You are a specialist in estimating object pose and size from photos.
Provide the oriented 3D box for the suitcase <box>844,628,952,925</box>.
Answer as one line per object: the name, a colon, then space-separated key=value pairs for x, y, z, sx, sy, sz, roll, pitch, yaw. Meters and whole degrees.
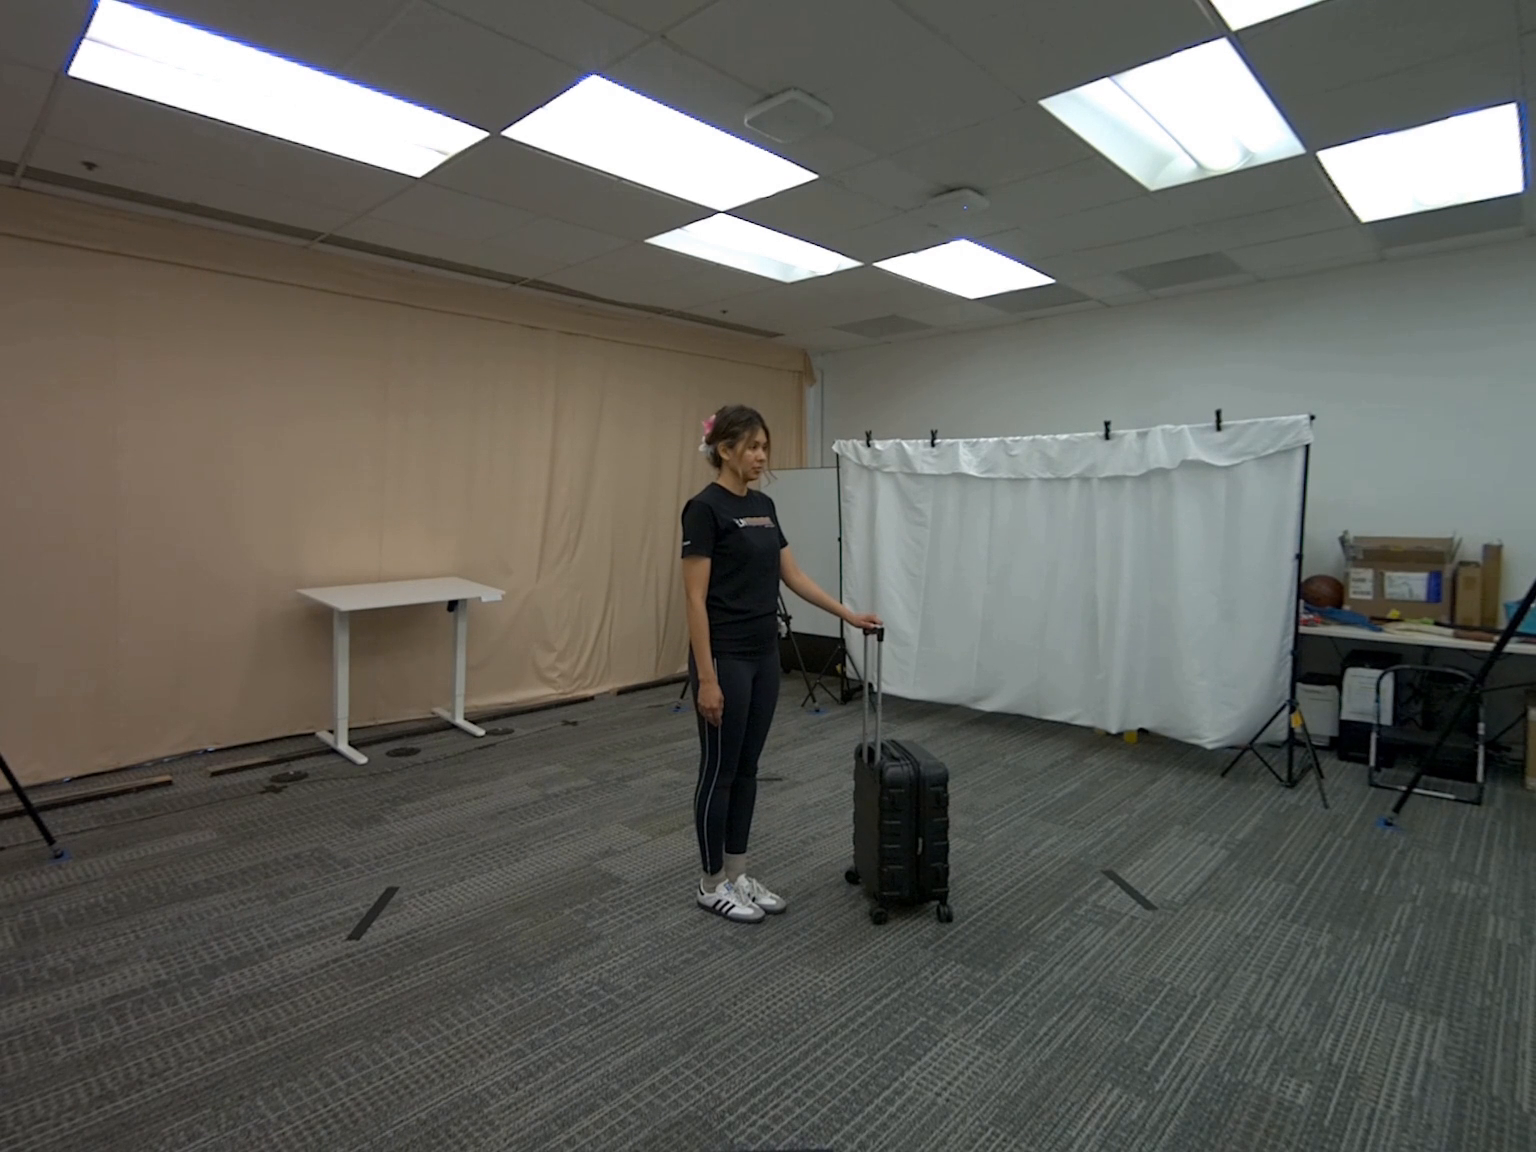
suitcase: x=0.471 y=0.670 z=2.945 sx=0.255 sy=0.977 sz=0.387 roll=3 pitch=3 yaw=-8
